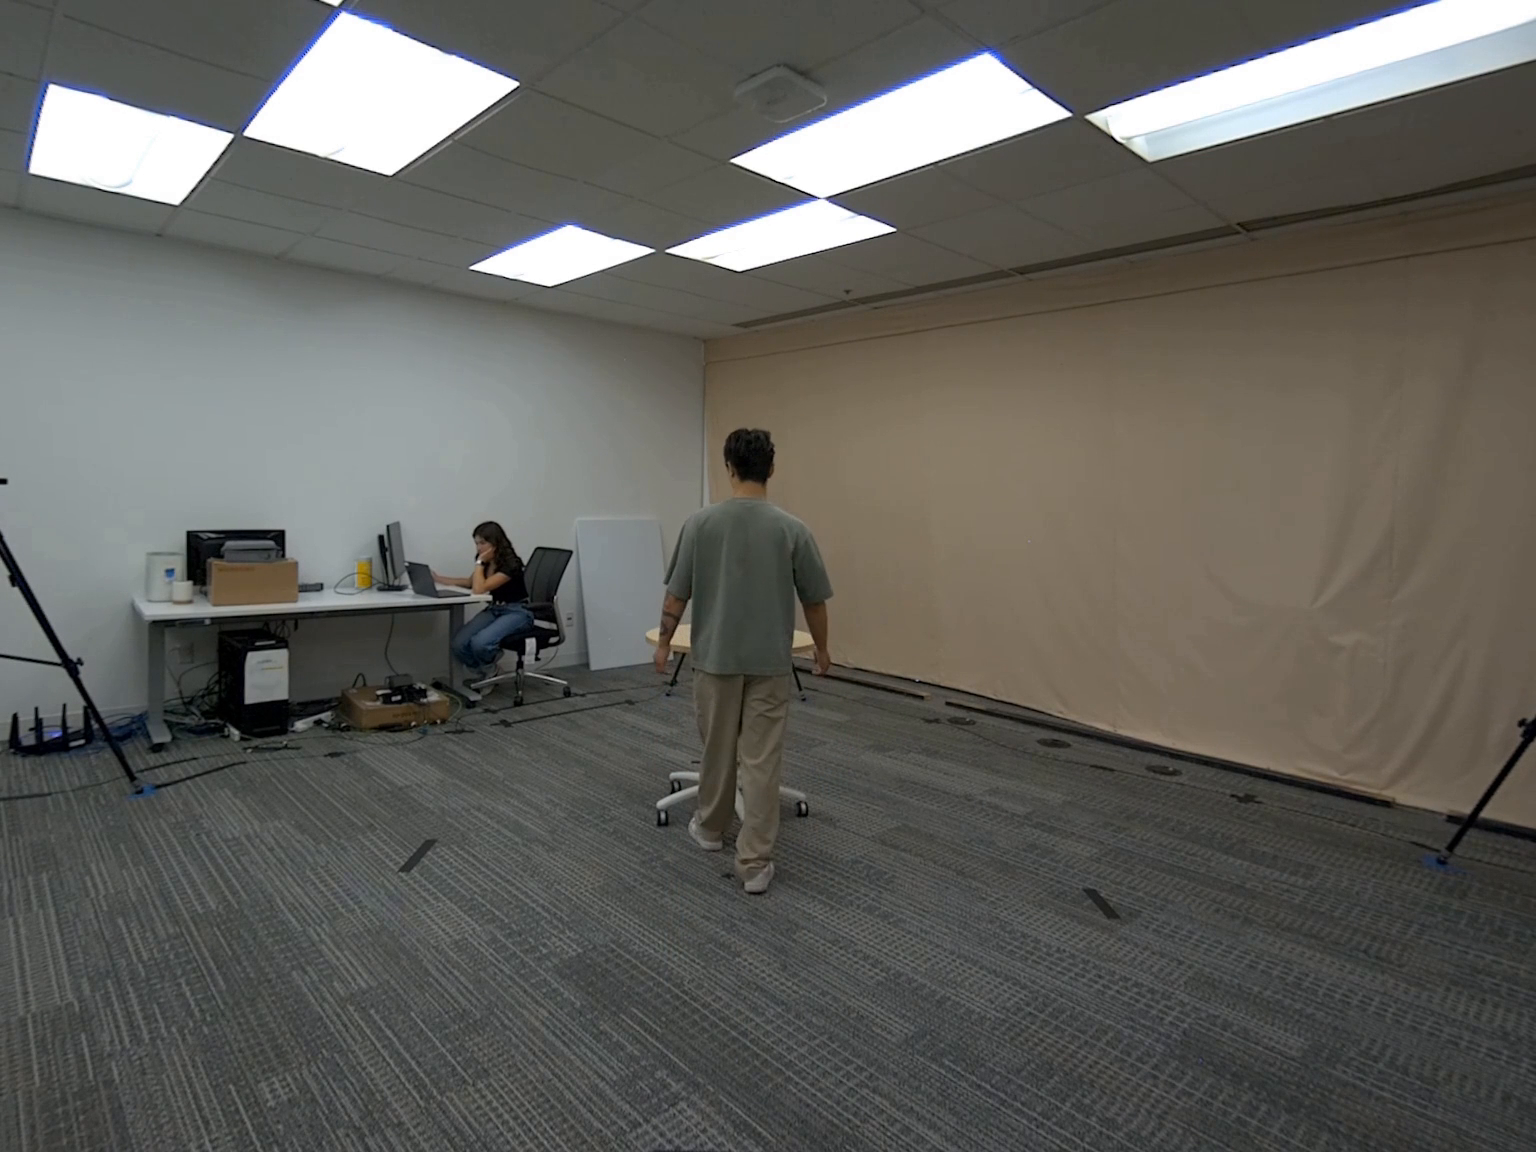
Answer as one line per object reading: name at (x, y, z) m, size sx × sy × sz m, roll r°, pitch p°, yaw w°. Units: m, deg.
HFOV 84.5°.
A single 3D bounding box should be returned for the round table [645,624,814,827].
round table at (-0.165, 0.659, 3.753) m, size 0.784 × 0.785 × 0.787 m, roll 1°, pitch 3°, yaw -1°
